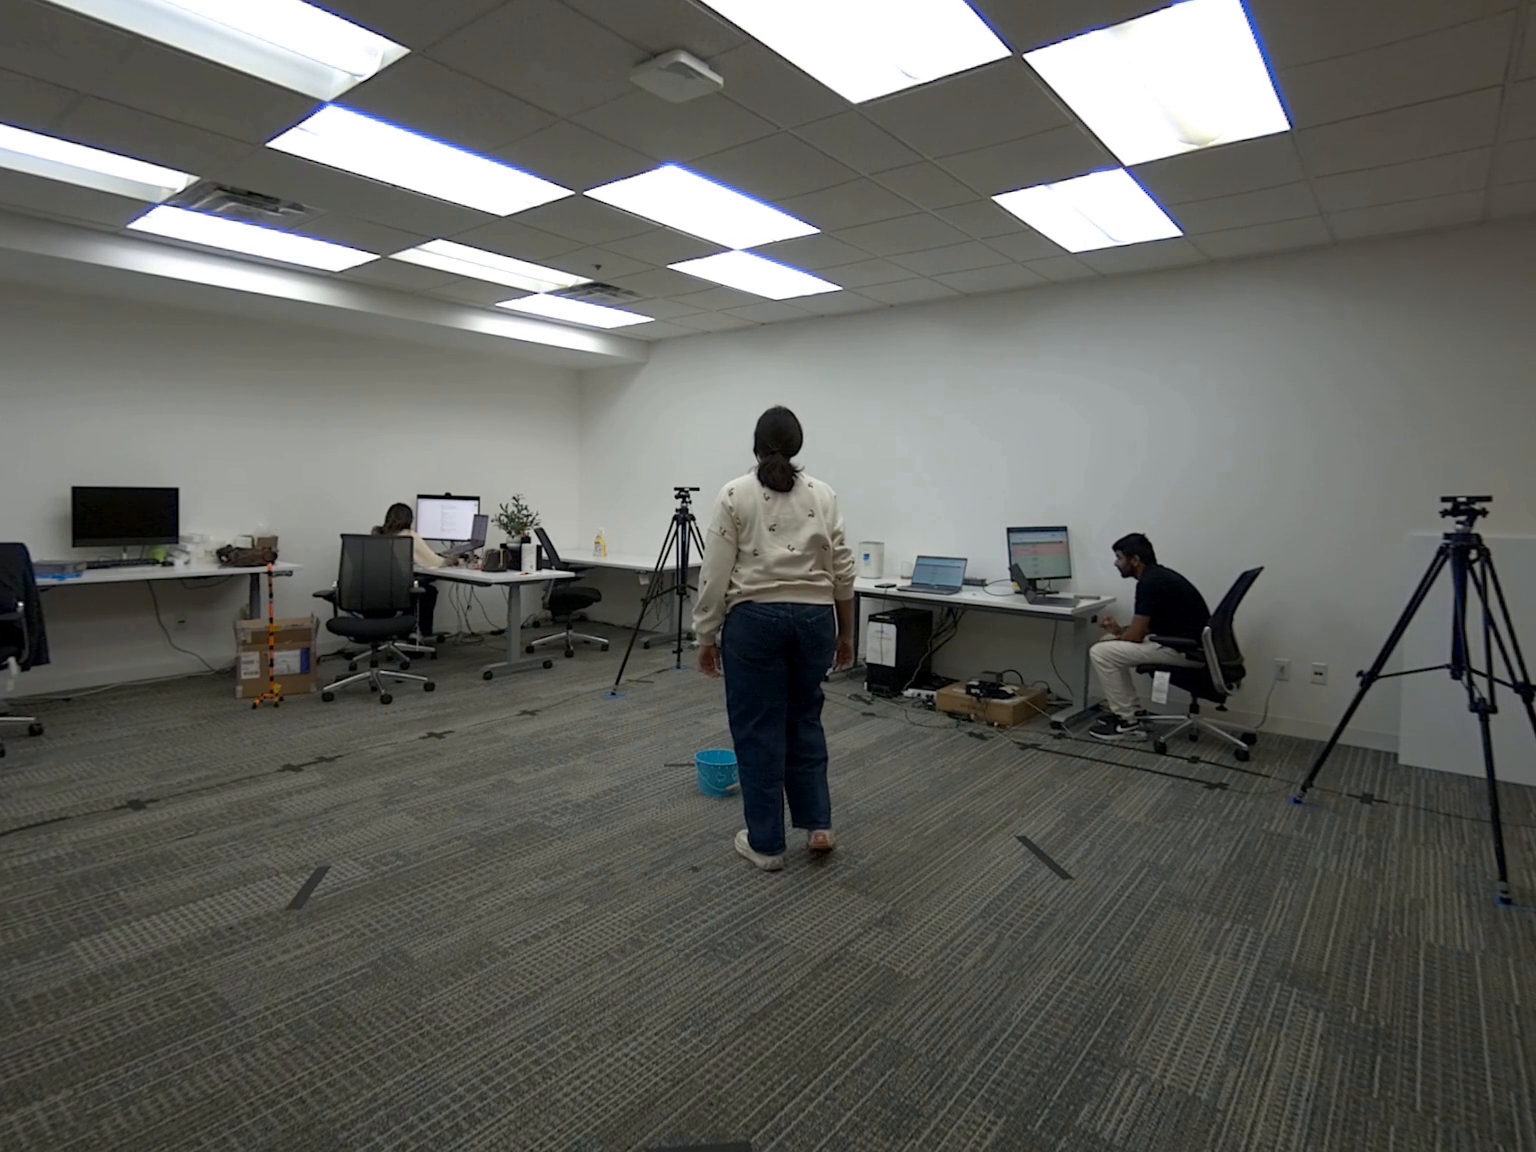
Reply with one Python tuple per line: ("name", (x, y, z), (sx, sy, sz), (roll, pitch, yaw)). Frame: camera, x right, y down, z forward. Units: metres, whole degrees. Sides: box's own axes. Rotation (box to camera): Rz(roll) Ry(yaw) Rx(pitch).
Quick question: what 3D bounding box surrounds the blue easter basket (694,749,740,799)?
("blue easter basket", (-0.239, 0.903, 3.934), (0.243, 0.155, 0.245), (0, 5, -2))
